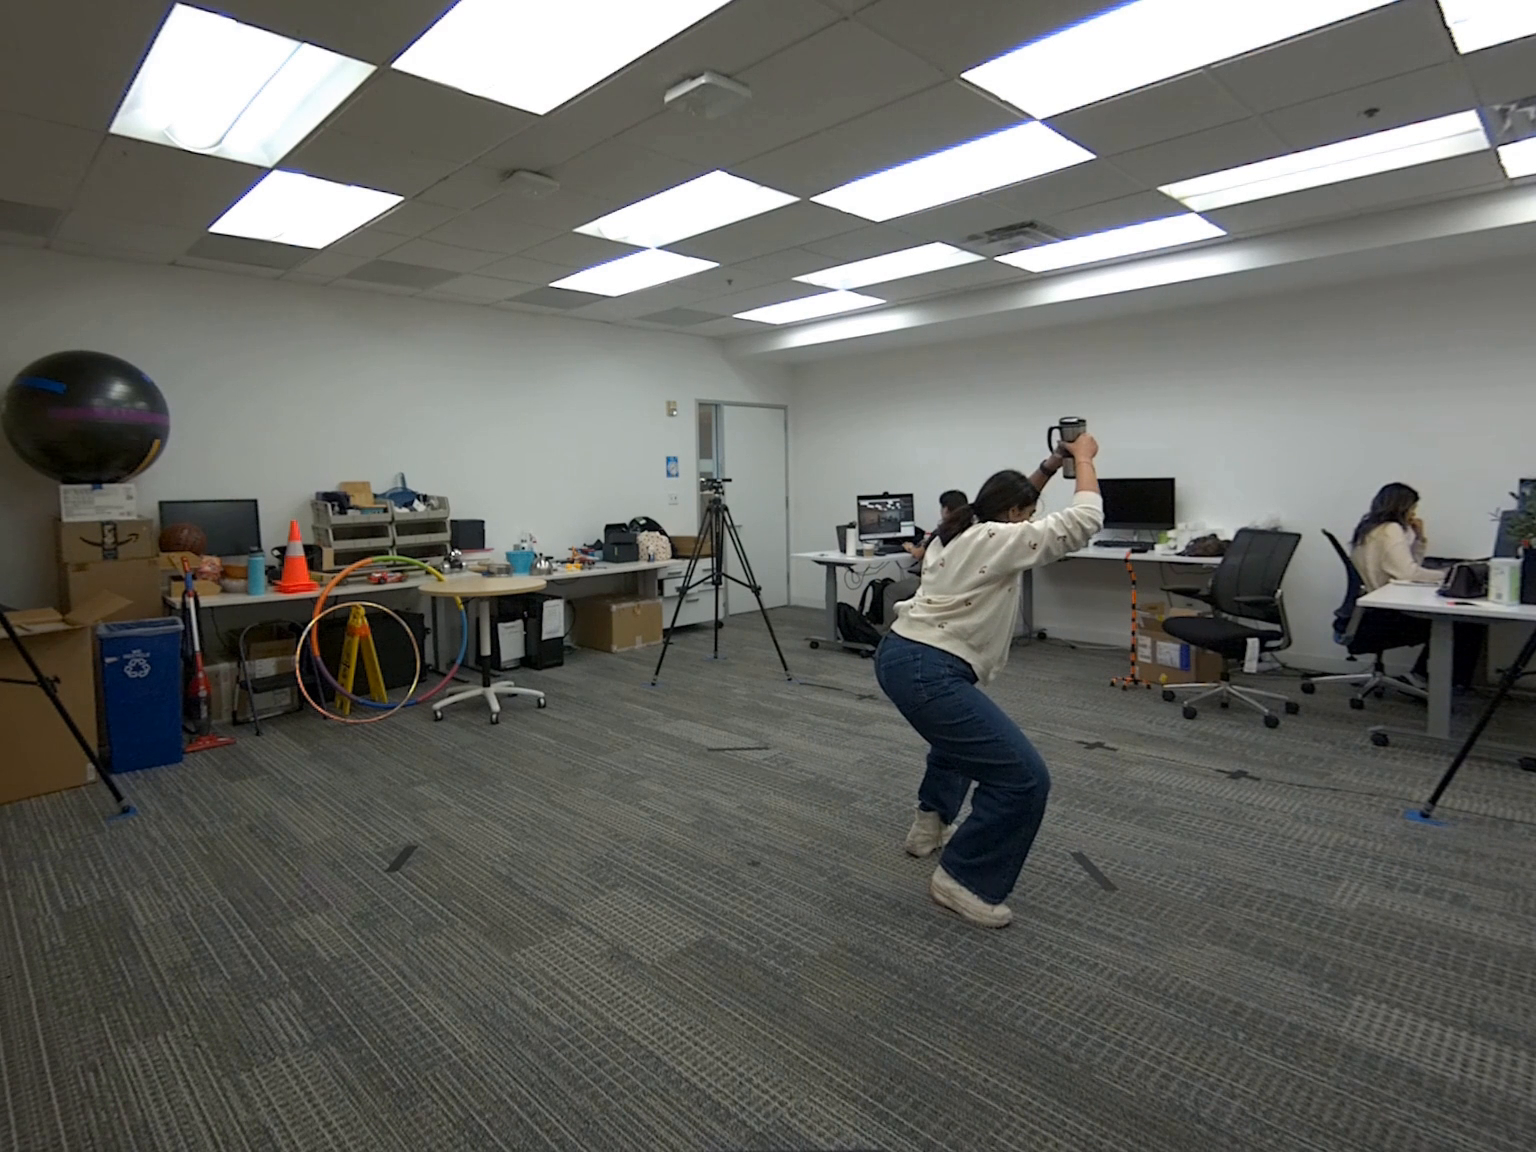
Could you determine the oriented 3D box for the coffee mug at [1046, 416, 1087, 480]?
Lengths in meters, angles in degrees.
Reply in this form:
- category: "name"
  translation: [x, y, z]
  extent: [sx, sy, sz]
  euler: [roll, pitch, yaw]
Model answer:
- category: "coffee mug"
  translation: [1.058, -0.440, 2.916]
  extent: [0.121, 0.200, 0.090]
  euler: [-13, 15, -13]
